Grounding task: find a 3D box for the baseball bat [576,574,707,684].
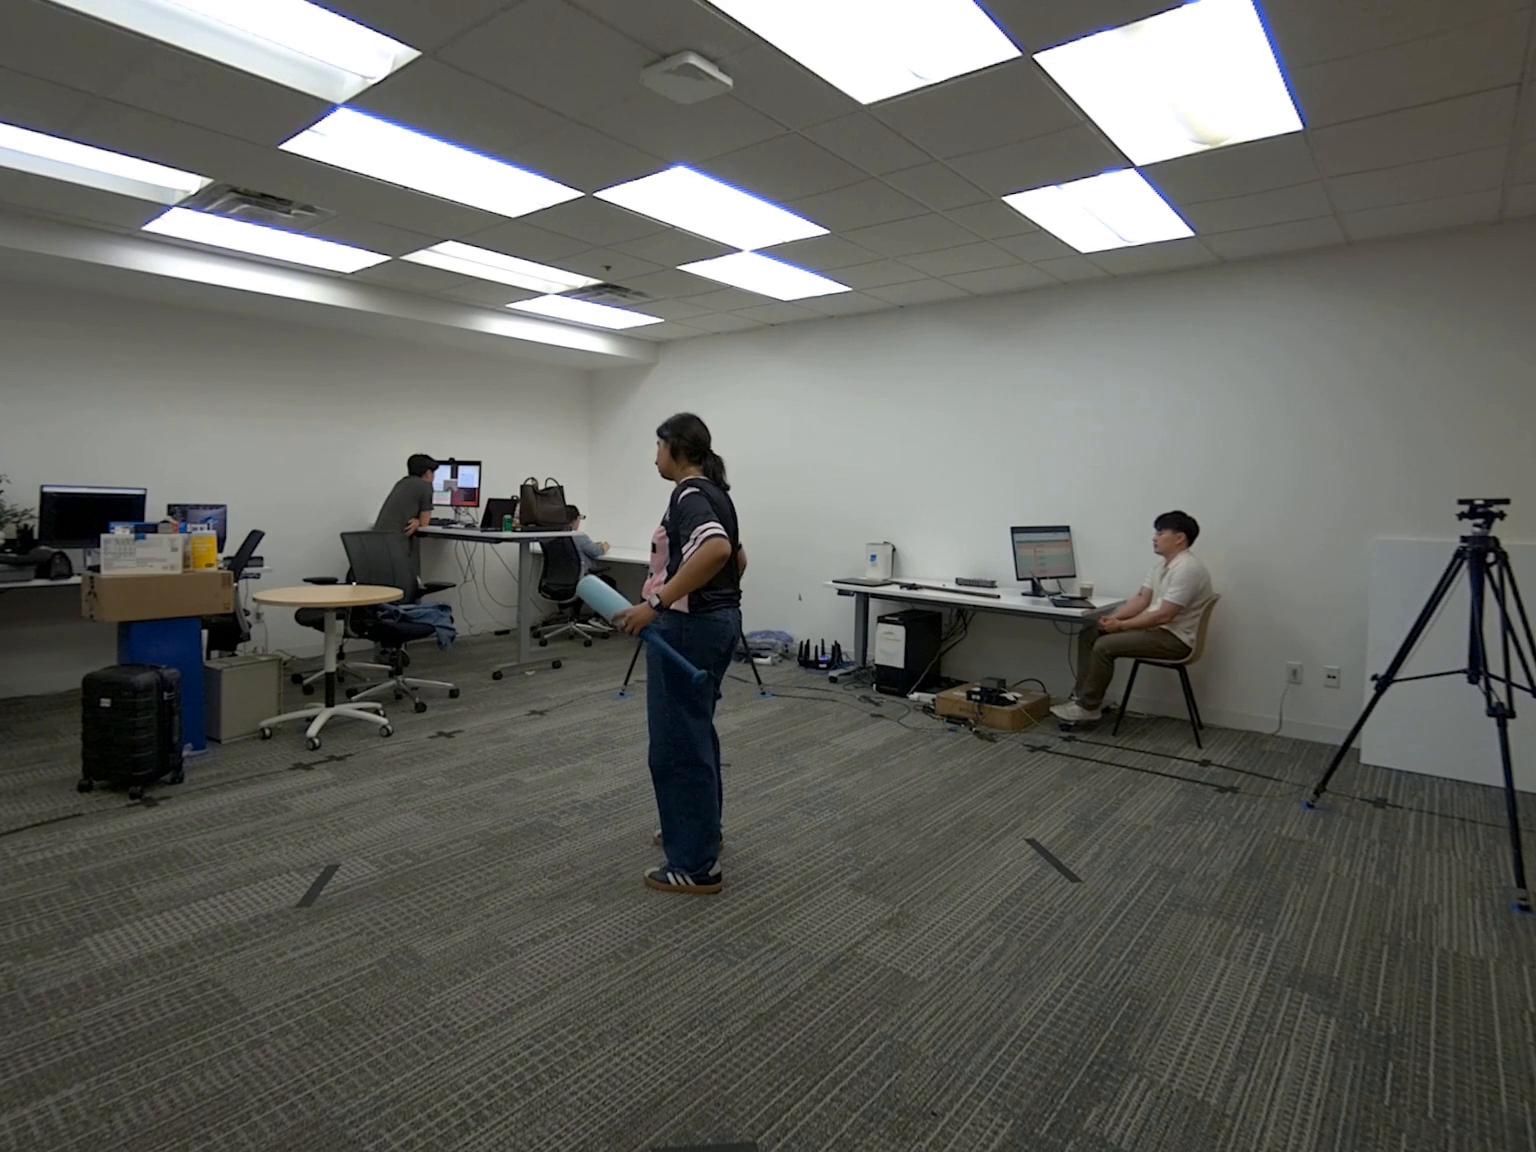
[{"bbox_3d":[-0.391,0.160,2.707,0.561,0.088,0.087,35,19,25],"label":"baseball bat"}]
